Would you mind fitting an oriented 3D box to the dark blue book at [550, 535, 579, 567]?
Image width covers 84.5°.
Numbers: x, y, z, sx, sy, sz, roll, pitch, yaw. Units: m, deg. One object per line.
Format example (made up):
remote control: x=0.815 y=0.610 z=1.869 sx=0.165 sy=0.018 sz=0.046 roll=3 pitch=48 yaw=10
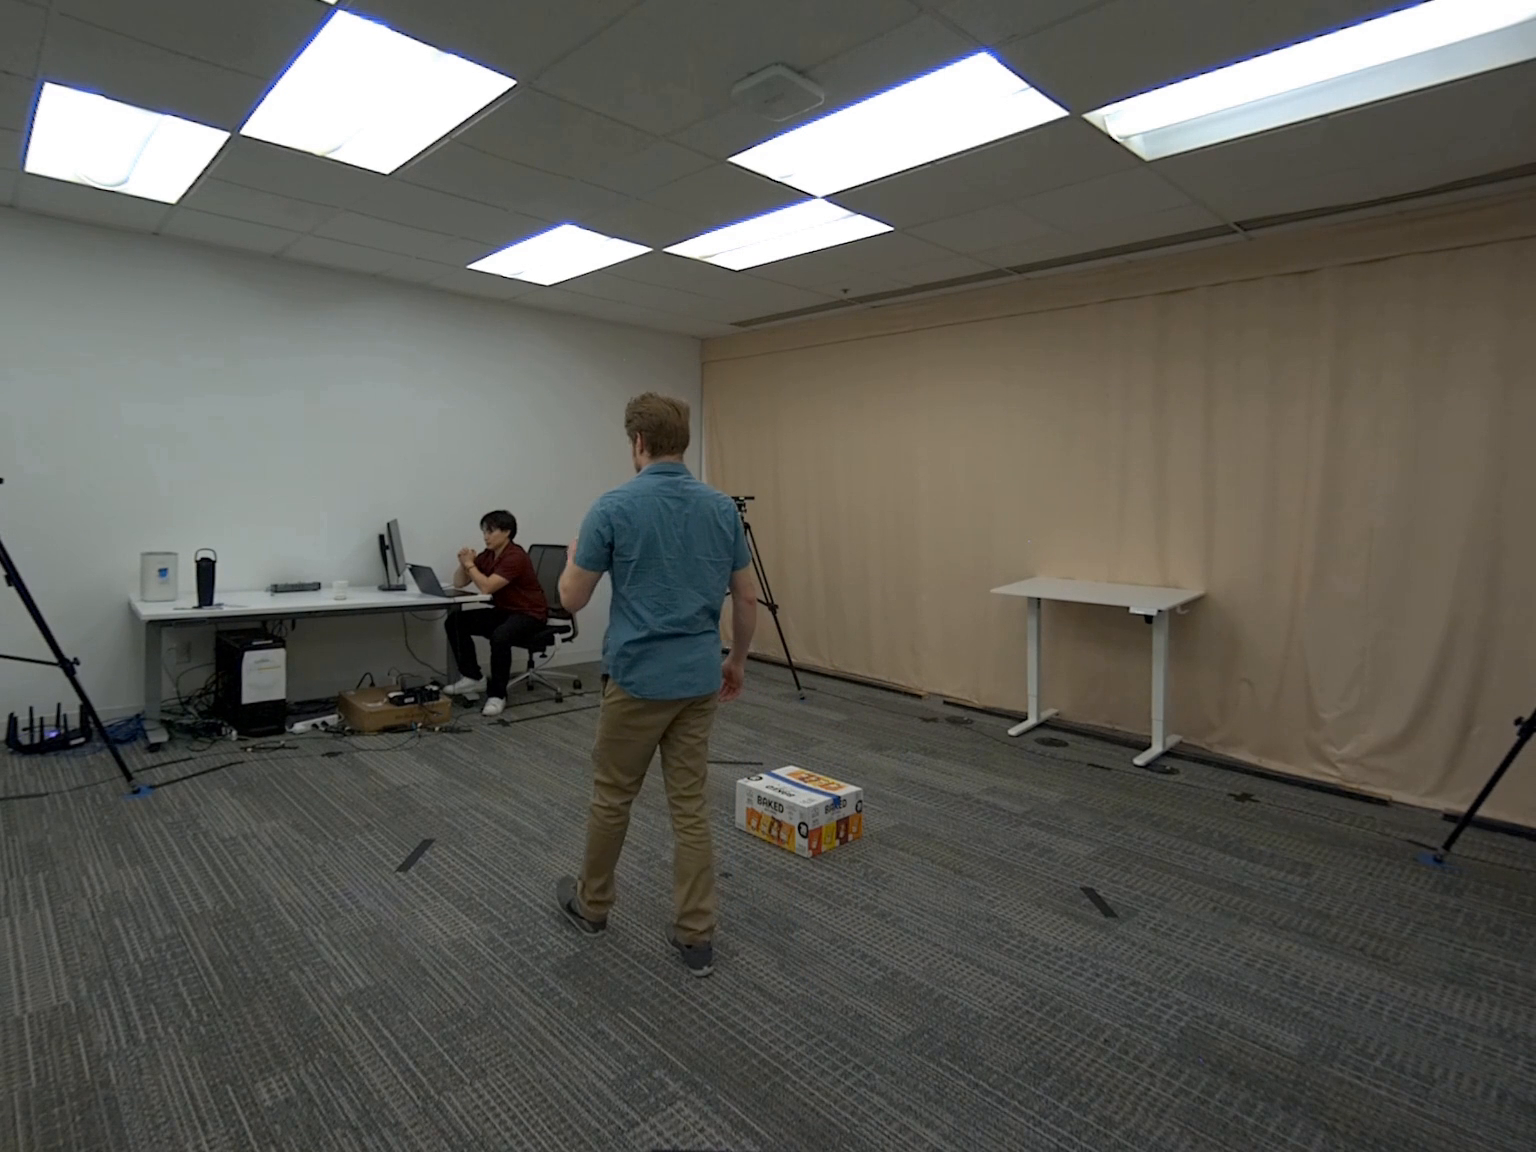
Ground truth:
dark blue book: x=-0.622 y=-0.116 z=2.853 sx=0.164 sy=0.045 sz=0.247 roll=-27 pitch=11 yaw=7
